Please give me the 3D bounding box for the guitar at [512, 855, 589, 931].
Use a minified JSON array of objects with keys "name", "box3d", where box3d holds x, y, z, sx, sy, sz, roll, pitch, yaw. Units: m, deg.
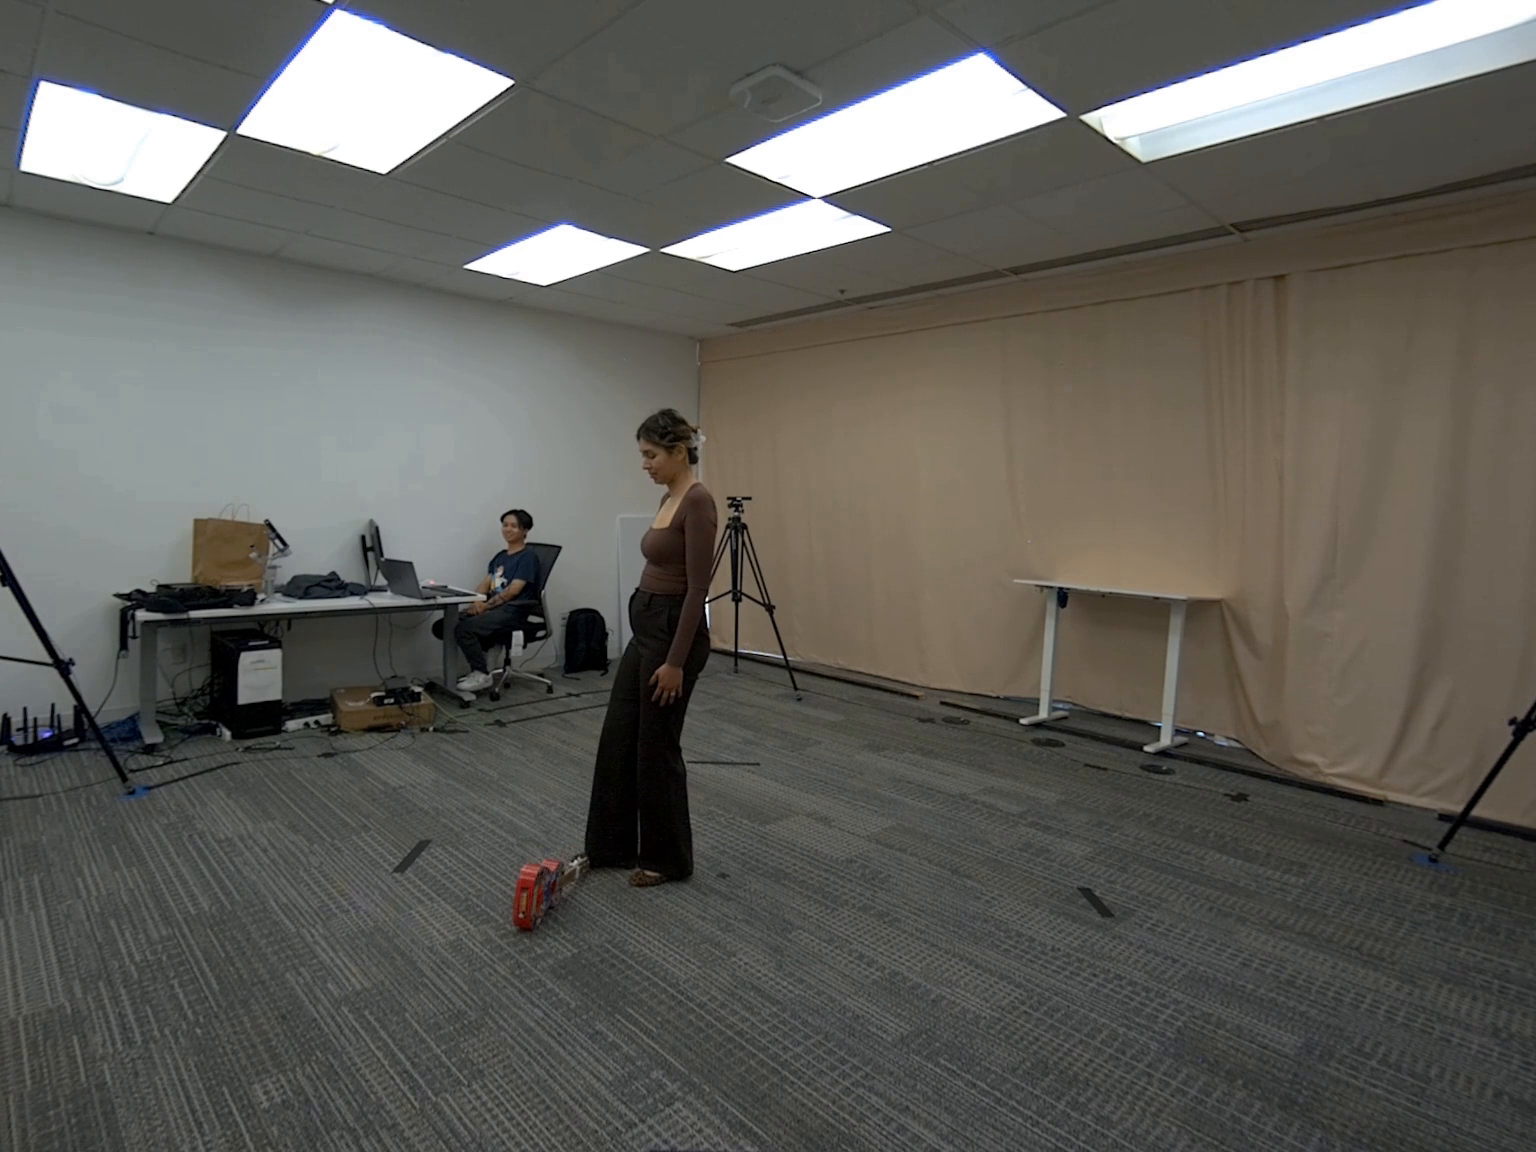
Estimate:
[{"name":"guitar","box3d":[-0.734,1.074,2.875,0.071,0.195,0.488,4,-14,11]}]
